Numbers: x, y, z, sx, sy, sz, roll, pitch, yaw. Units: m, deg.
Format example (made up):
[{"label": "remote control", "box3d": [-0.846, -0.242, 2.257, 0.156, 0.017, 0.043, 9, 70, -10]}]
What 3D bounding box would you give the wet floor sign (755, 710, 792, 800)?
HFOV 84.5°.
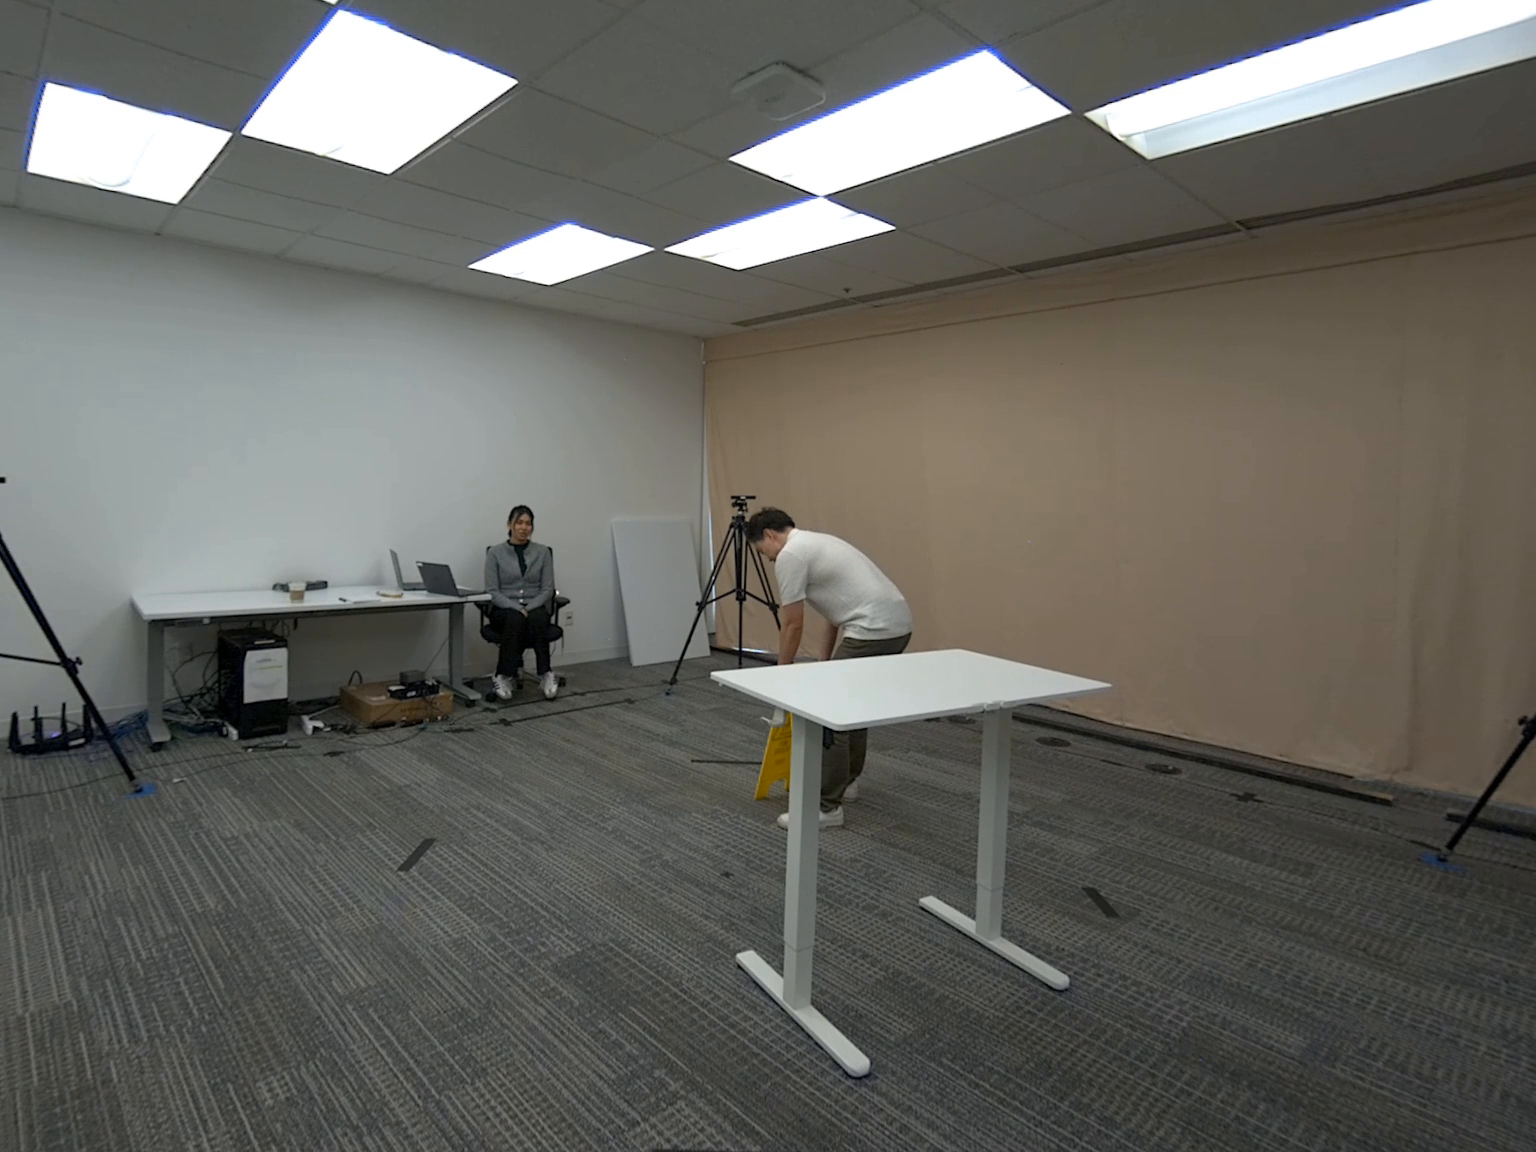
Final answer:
[{"label": "wet floor sign", "box3d": [0.140, 0.723, 3.868, 0.297, 0.645, 0.275, 5, 4, 44]}]
